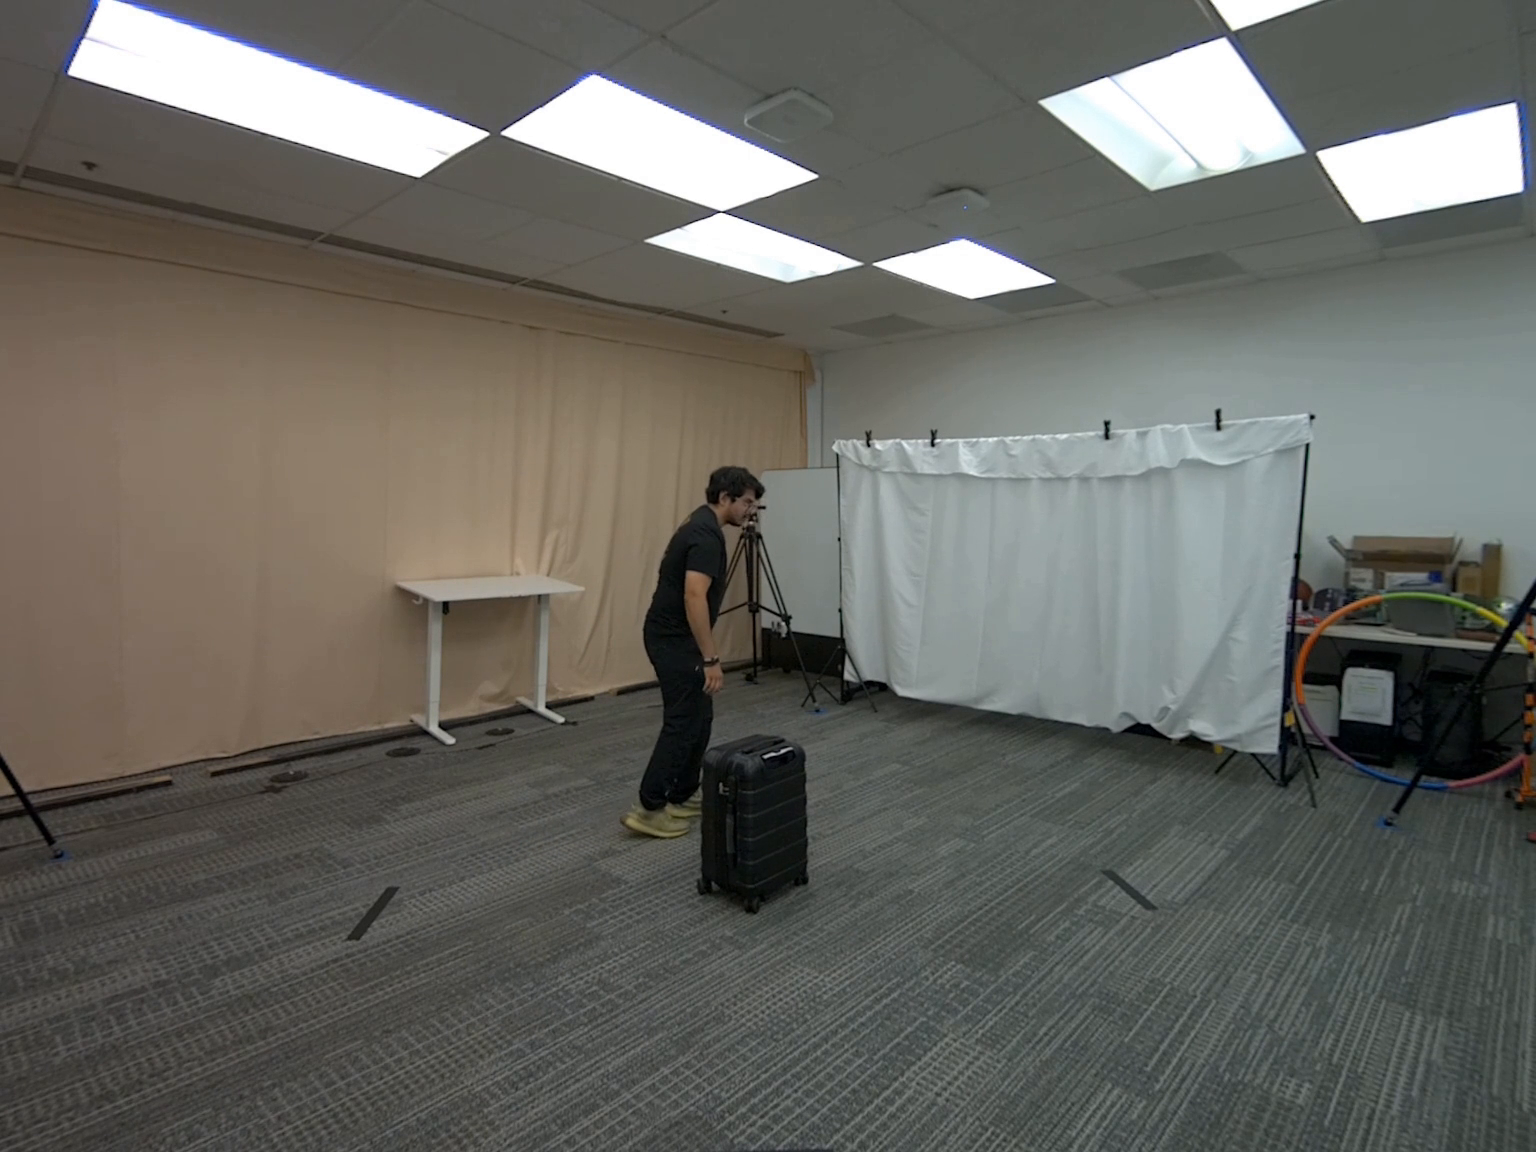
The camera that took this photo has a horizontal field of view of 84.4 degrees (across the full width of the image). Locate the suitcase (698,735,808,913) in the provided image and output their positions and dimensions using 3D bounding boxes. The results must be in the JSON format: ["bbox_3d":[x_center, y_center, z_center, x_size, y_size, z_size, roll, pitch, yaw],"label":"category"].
[{"bbox_3d":[-0.047,0.865,3.031,0.256,0.548,0.364,3,6,40],"label":"suitcase"}]
